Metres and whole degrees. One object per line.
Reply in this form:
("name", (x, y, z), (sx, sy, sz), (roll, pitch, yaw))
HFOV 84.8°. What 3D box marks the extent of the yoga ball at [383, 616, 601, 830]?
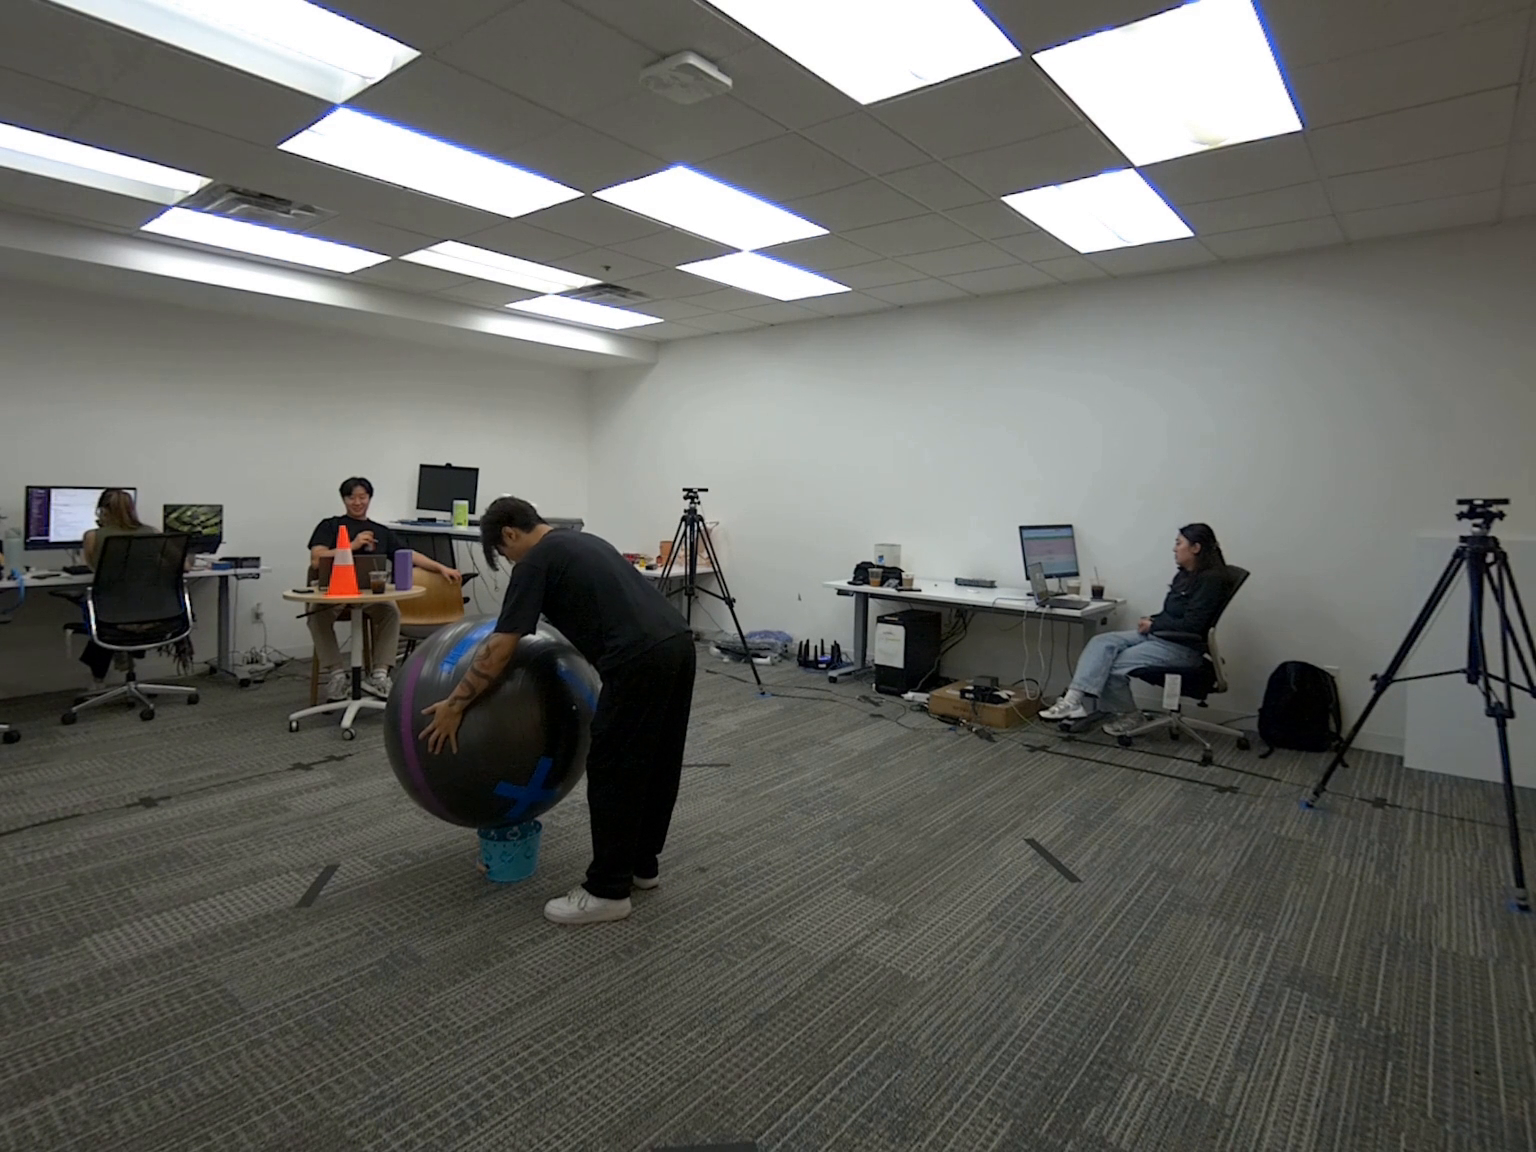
("yoga ball", (-1.011, 0.519, 3.078), (0.757, 0.756, 0.762), (1, 4, -2))
